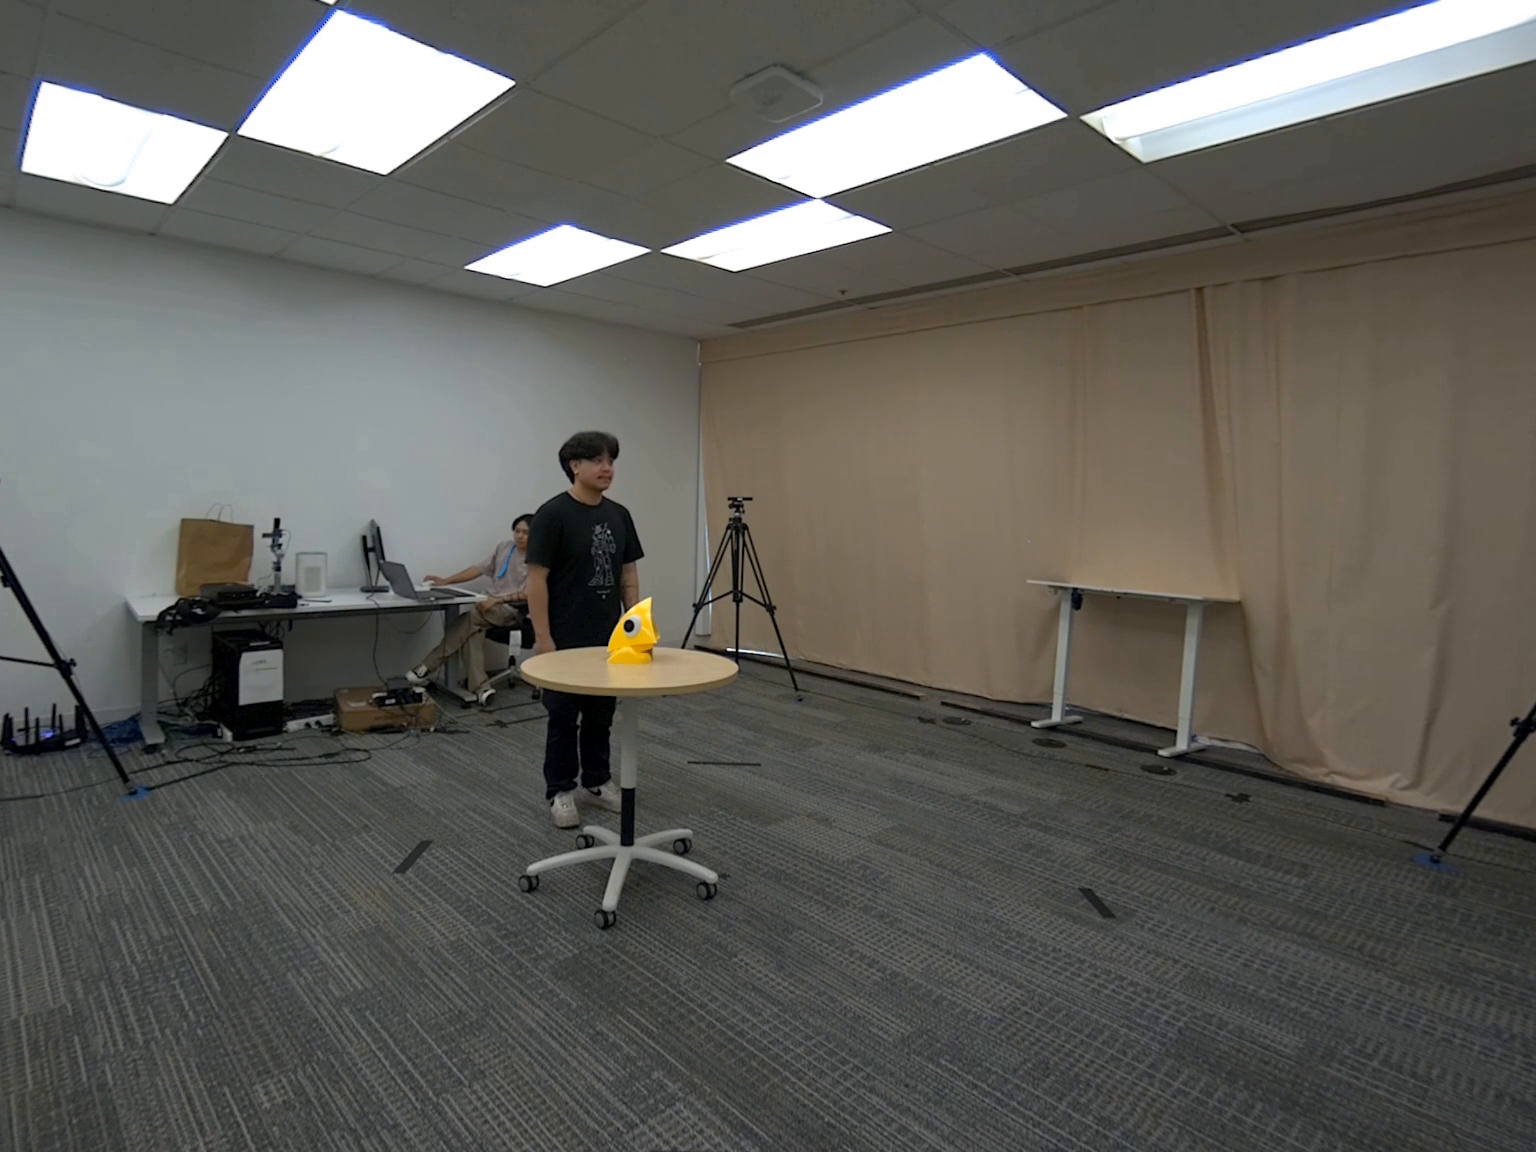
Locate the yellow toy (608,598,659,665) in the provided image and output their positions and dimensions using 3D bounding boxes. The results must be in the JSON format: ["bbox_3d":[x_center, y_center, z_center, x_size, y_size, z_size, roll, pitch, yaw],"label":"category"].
[{"bbox_3d":[-0.501,0.193,3.098,0.192,0.230,0.206,2,4,-4],"label":"yellow toy"}]
